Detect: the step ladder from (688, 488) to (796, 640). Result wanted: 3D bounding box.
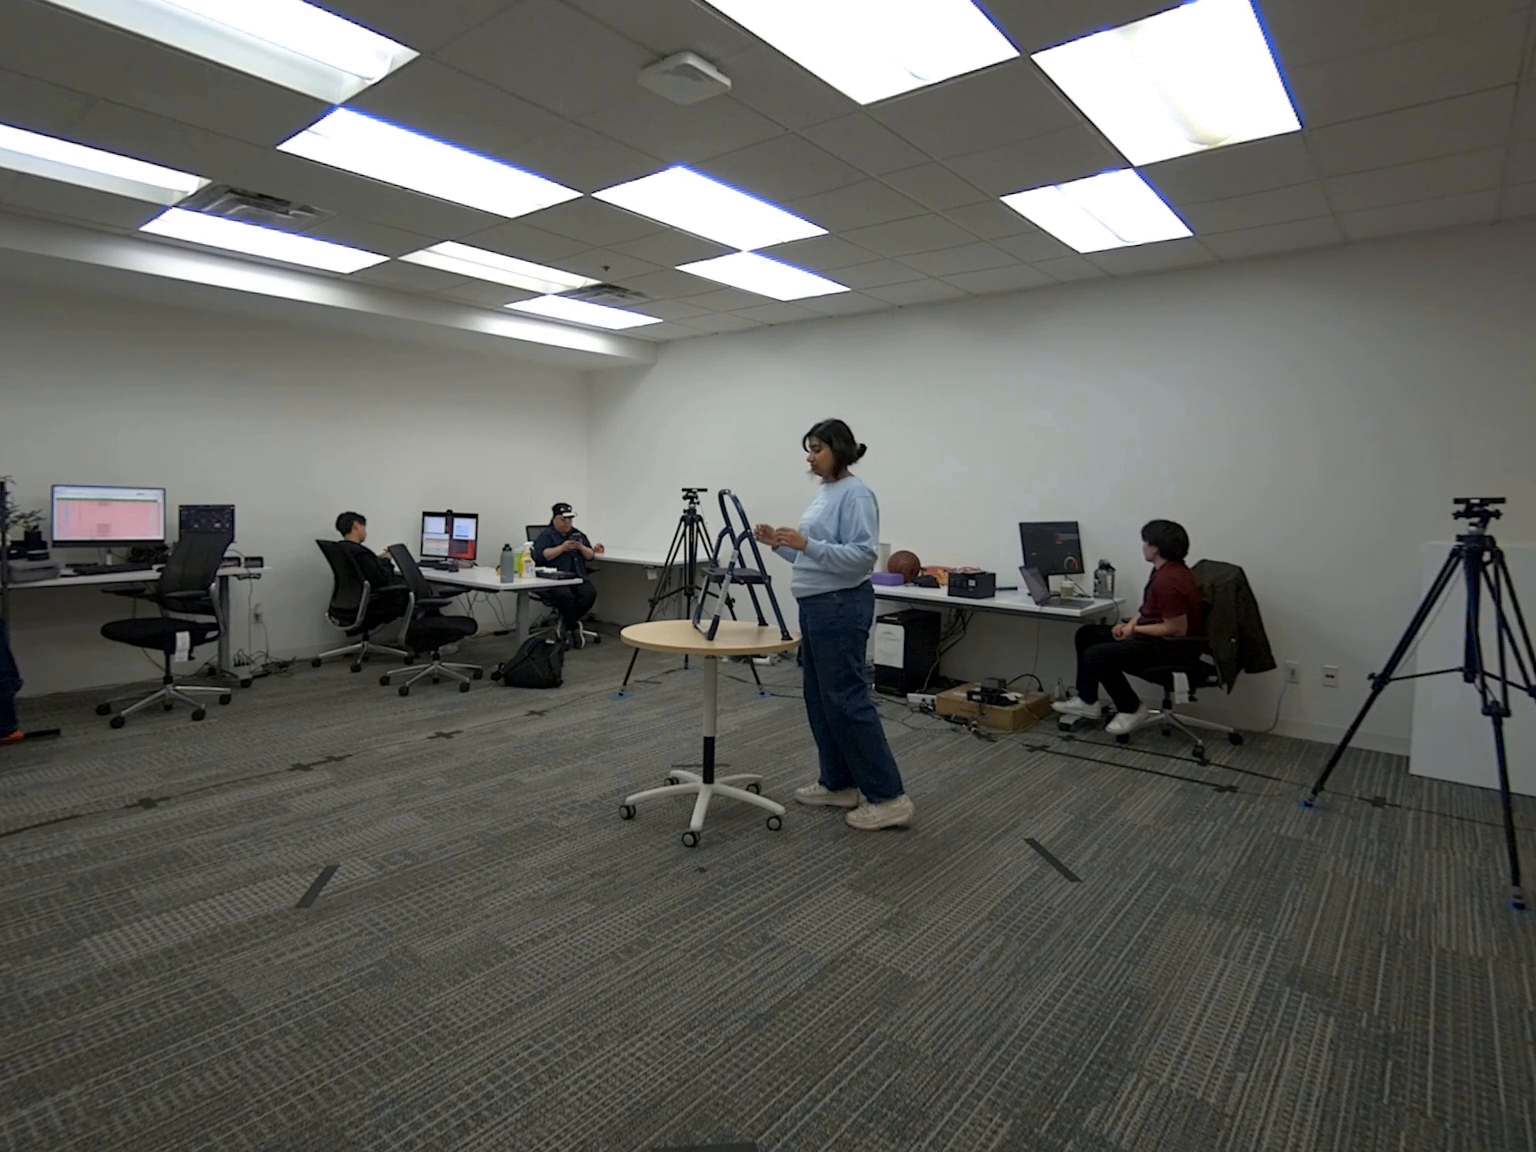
[{"bbox_3d":[-0.126,-0.070,3.616,0.344,0.604,0.438,1,3,-15],"label":"step ladder"}]
